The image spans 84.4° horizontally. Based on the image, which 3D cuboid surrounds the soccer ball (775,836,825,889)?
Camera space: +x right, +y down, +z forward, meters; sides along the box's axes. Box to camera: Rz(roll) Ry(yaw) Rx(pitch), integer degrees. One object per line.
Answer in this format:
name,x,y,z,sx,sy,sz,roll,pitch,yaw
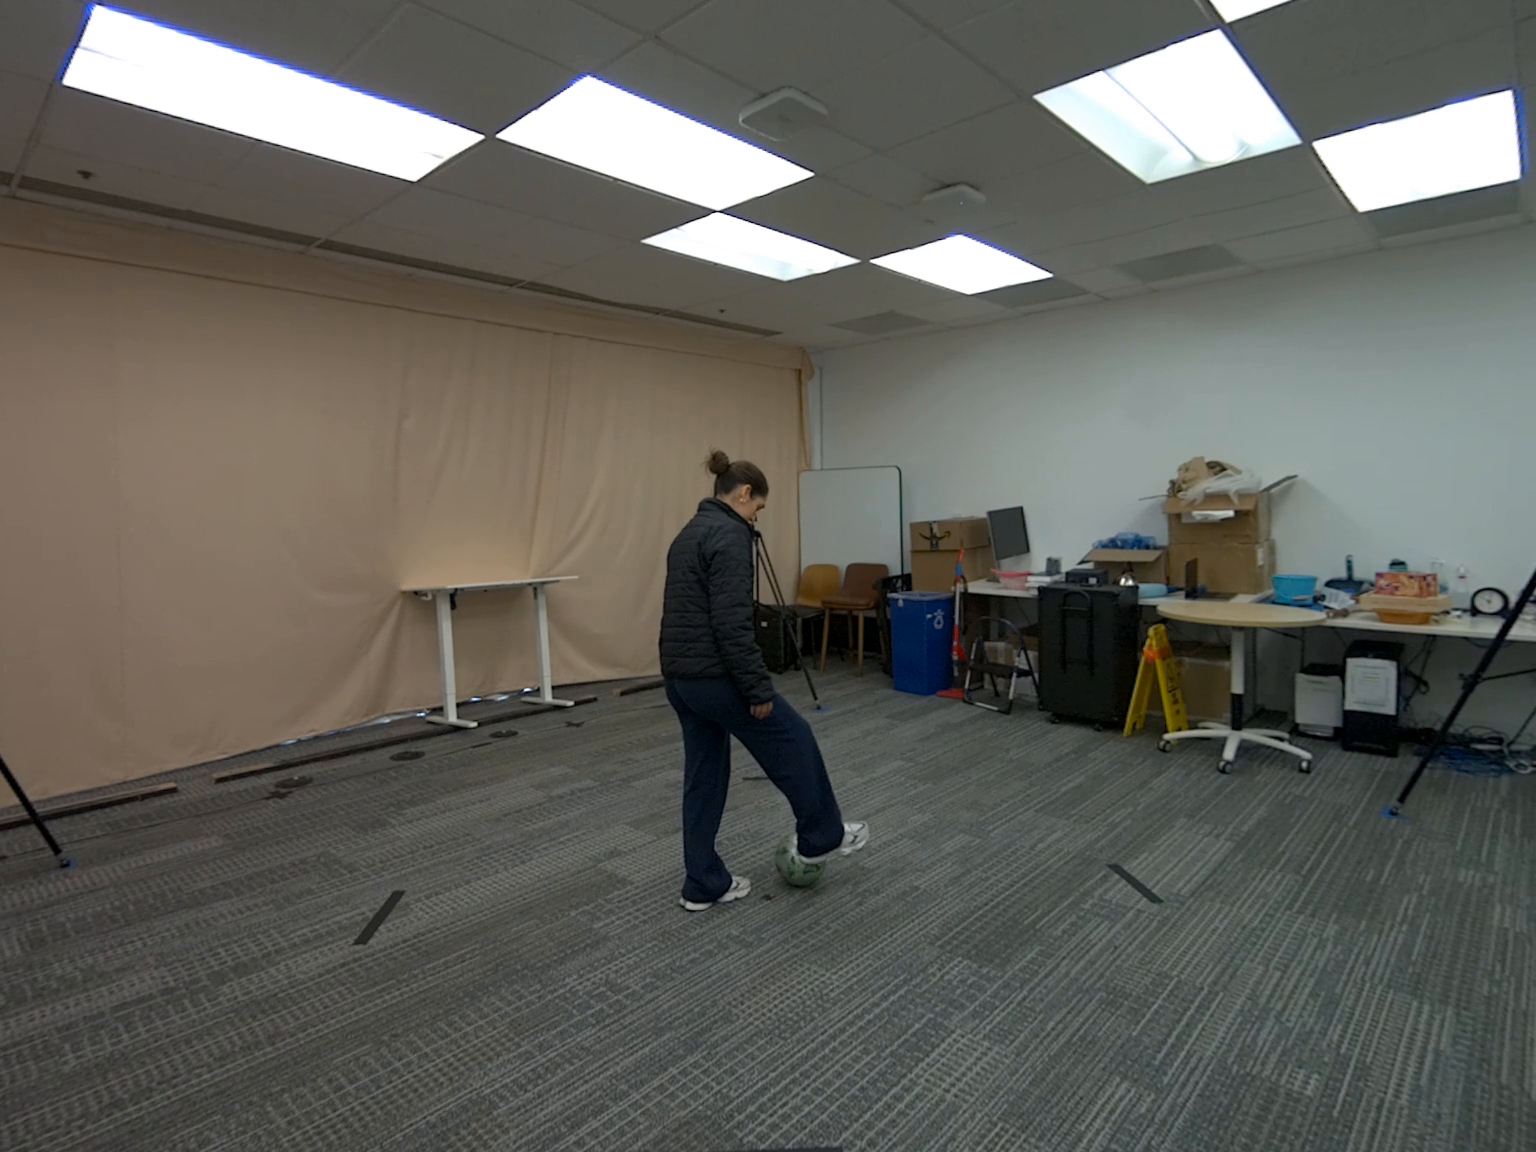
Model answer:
soccer ball,0.121,1.033,3.066,0.187,0.187,0.188,-1,4,-2
